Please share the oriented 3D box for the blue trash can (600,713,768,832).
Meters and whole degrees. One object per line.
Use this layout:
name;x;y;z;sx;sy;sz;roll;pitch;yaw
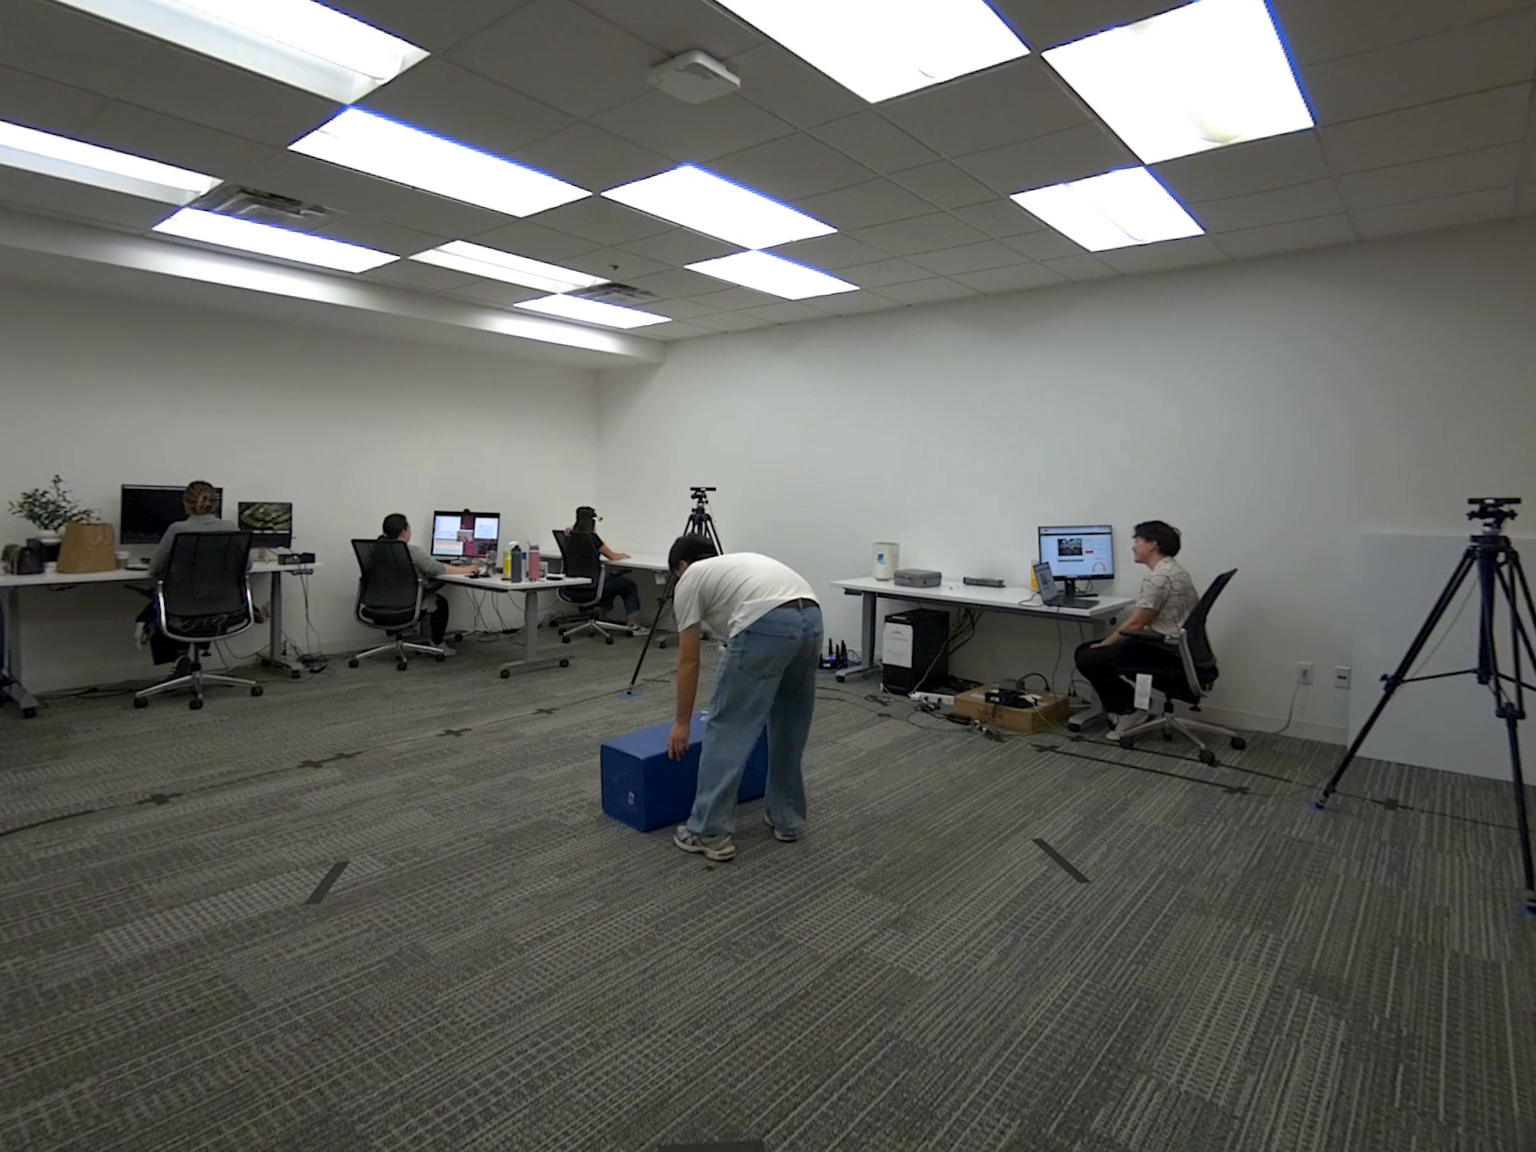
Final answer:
blue trash can;-0.362;0.835;3.738;0.693;0.376;0.387;-8;9;-44
